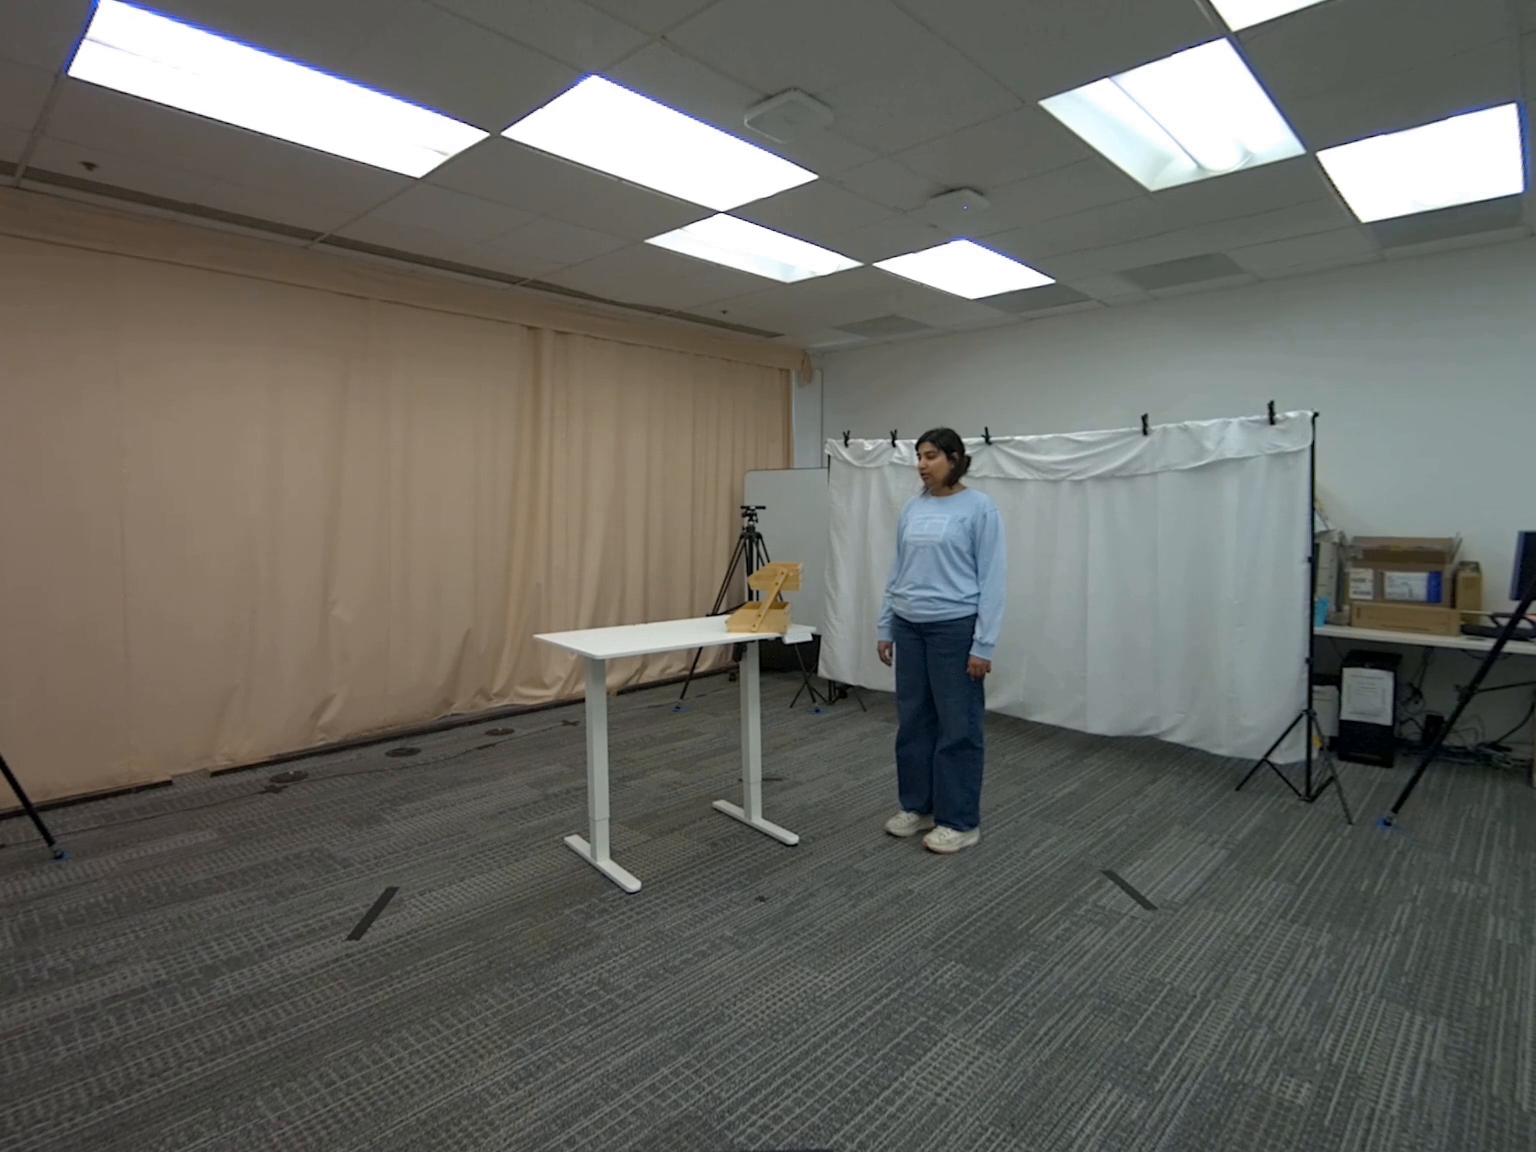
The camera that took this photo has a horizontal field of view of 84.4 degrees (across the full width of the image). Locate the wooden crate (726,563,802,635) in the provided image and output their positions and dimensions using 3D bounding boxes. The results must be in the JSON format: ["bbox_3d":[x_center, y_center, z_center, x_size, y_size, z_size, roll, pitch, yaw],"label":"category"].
[{"bbox_3d":[-0.020,0.086,3.510,0.304,0.273,0.323,1,2,4],"label":"wooden crate"}]
